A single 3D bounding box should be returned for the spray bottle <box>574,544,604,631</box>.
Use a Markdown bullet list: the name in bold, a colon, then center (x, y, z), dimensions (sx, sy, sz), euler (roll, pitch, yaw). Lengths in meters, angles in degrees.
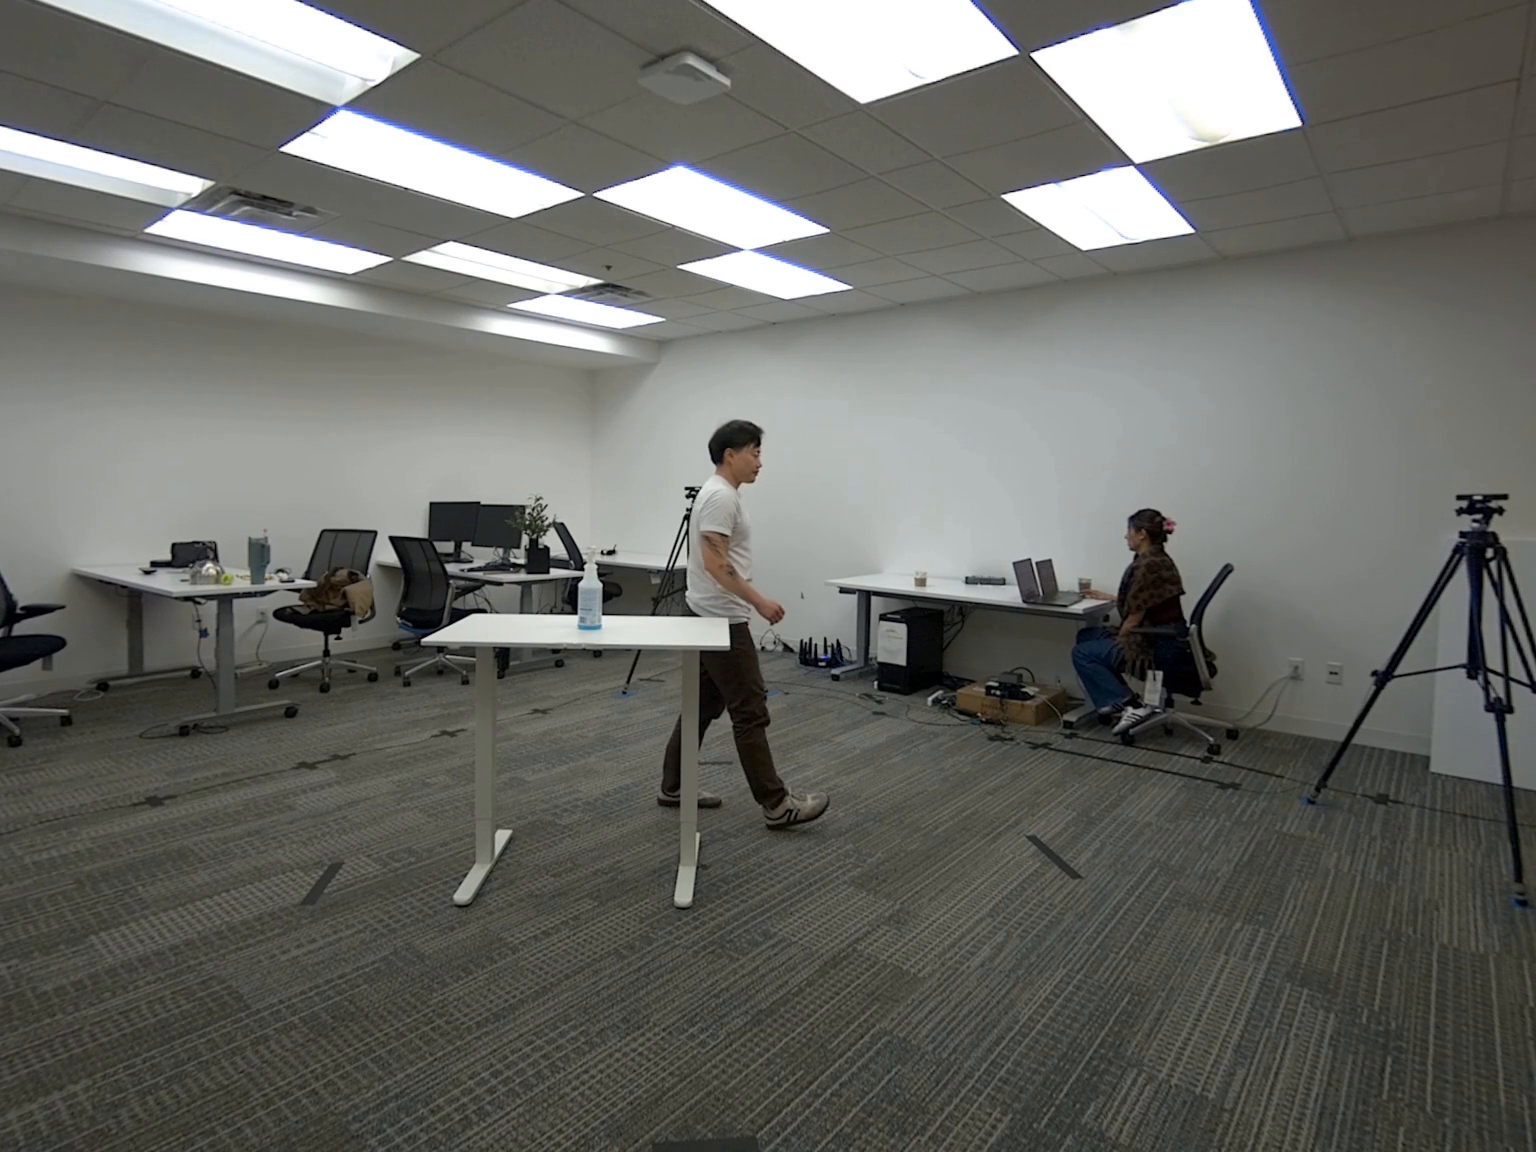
- **spray bottle**: center (-0.648, 0.037, 3.034), dimensions (0.087, 0.296, 0.090), euler (1, 3, 1)
